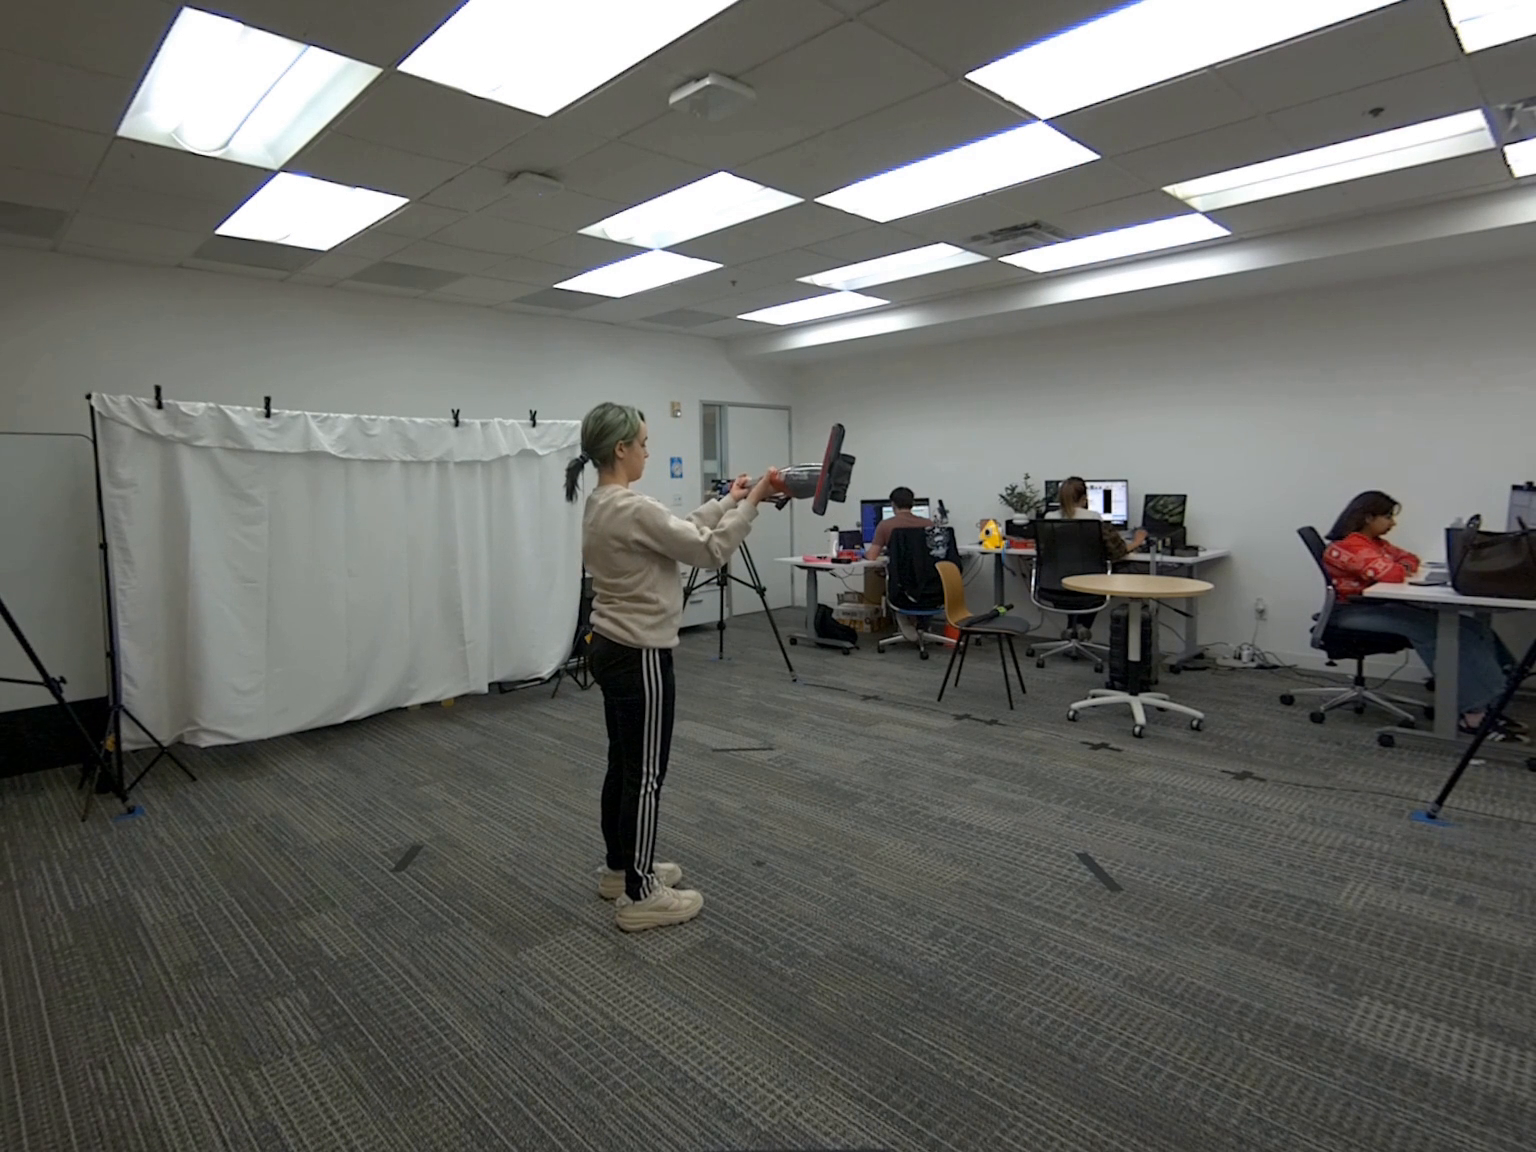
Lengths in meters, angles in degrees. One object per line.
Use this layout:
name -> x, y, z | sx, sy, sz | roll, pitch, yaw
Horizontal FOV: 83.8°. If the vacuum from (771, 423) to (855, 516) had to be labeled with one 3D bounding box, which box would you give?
vacuum -> 0.020, -0.298, 2.856 | 0.141, 0.253, 1.067 | 17, -3, -18
